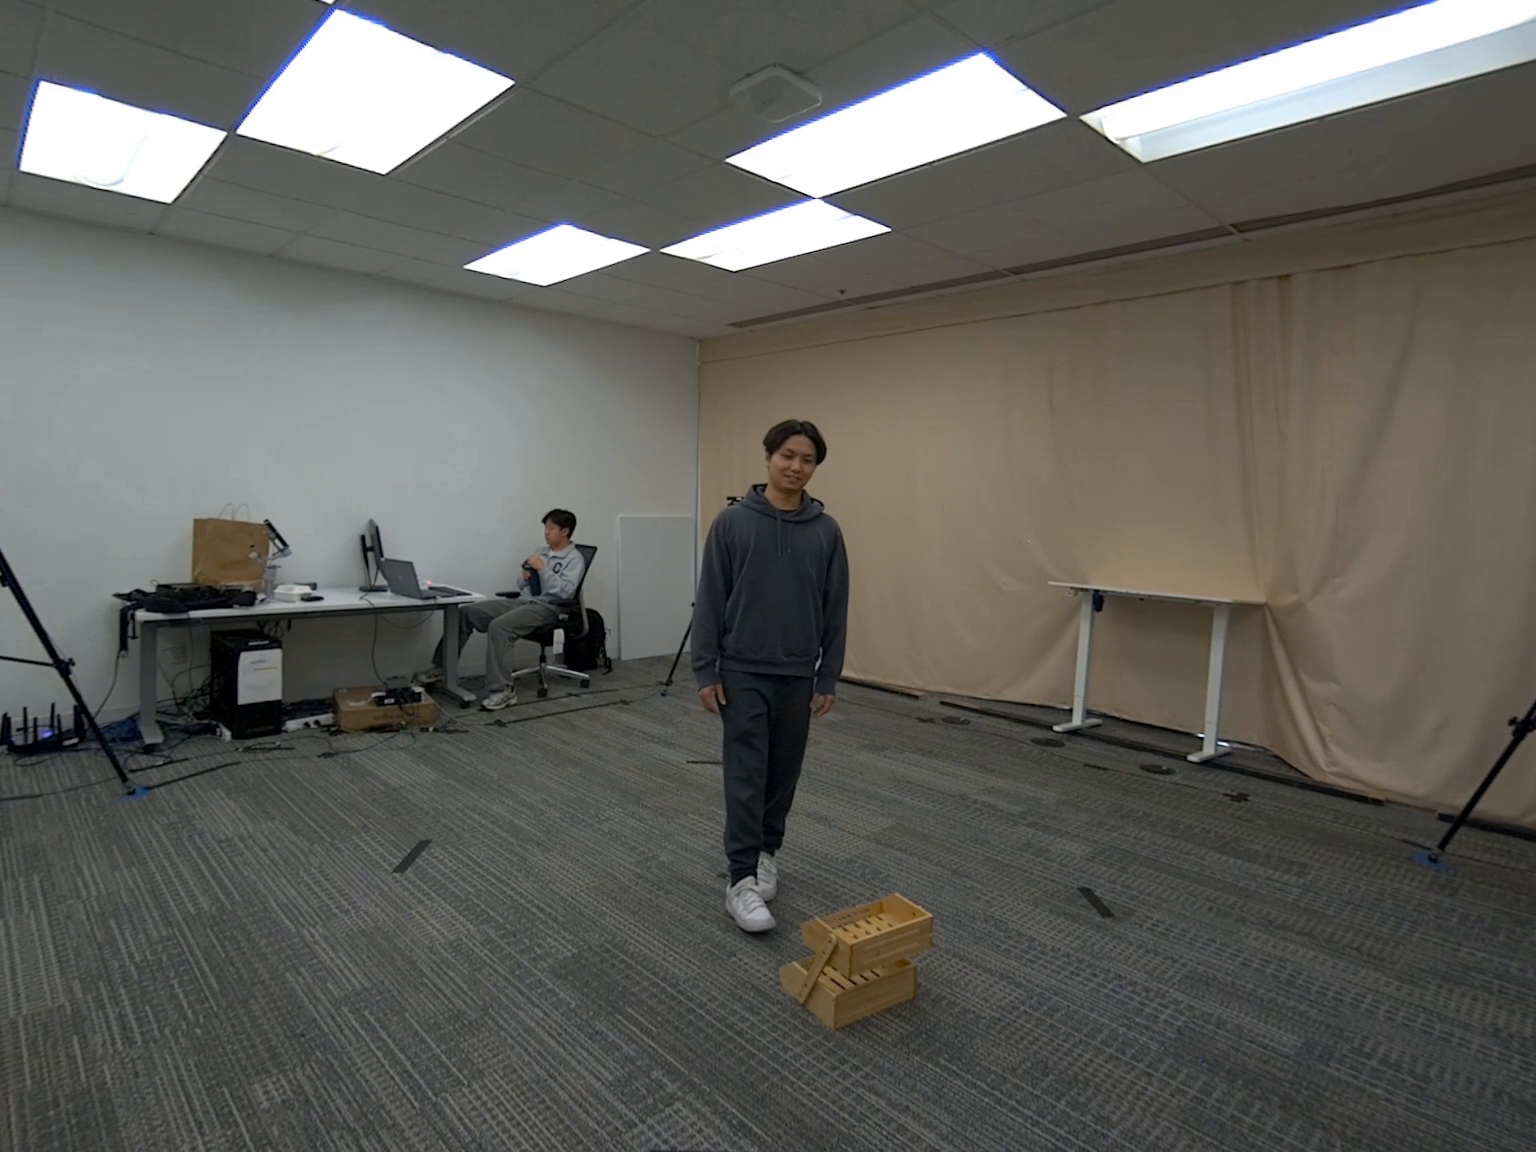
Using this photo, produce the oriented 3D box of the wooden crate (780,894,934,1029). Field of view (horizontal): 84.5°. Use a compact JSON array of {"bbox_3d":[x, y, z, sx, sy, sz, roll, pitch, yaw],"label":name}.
[{"bbox_3d":[0.238,1.048,2.367,0.317,0.272,0.309,-2,6,-34],"label":"wooden crate"}]
